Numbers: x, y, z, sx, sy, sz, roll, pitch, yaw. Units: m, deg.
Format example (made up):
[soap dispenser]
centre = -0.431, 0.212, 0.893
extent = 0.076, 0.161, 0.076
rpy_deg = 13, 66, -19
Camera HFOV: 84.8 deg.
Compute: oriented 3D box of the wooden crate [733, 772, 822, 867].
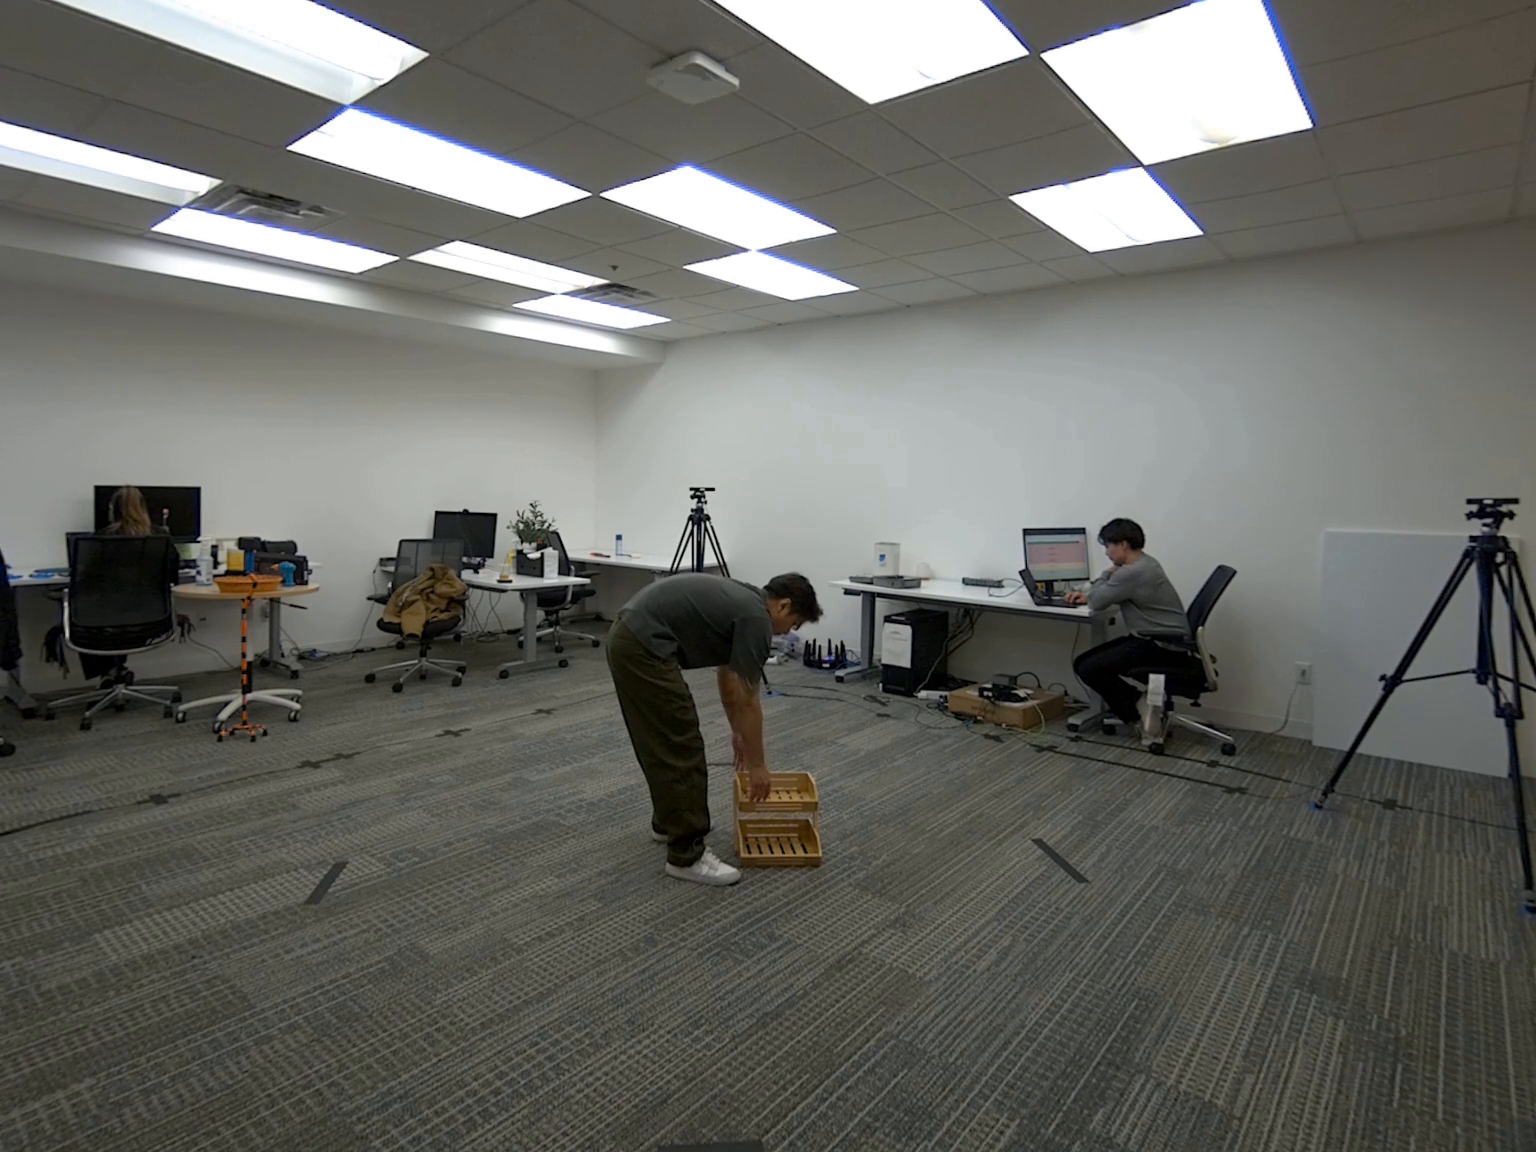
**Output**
[wooden crate]
centre = 0.030, 0.925, 3.254
extent = 0.322, 0.272, 0.305
rpy_deg = 1, 4, -6
